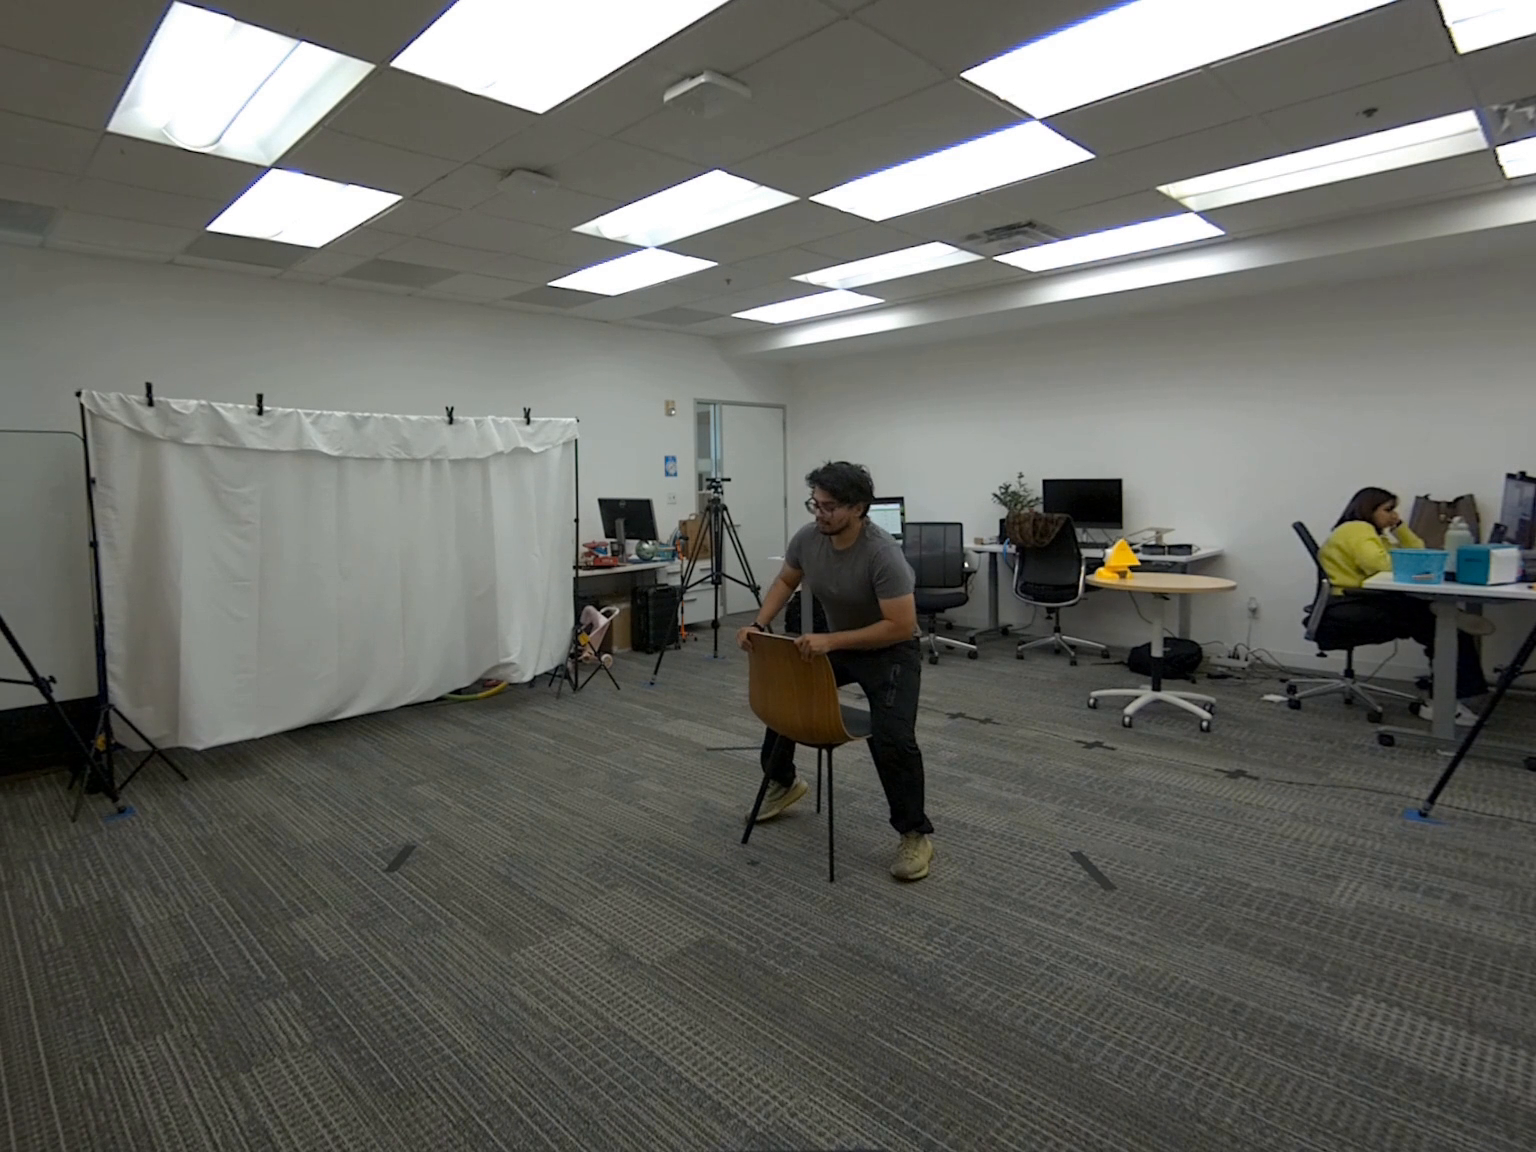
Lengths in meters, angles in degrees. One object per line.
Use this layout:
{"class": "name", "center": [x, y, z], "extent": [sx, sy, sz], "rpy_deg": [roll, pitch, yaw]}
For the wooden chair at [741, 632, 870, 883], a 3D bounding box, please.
{"class": "wooden chair", "center": [0.212, 0.595, 3.225], "extent": [0.493, 0.871, 0.511], "rpy_deg": [3, 10, 45]}
